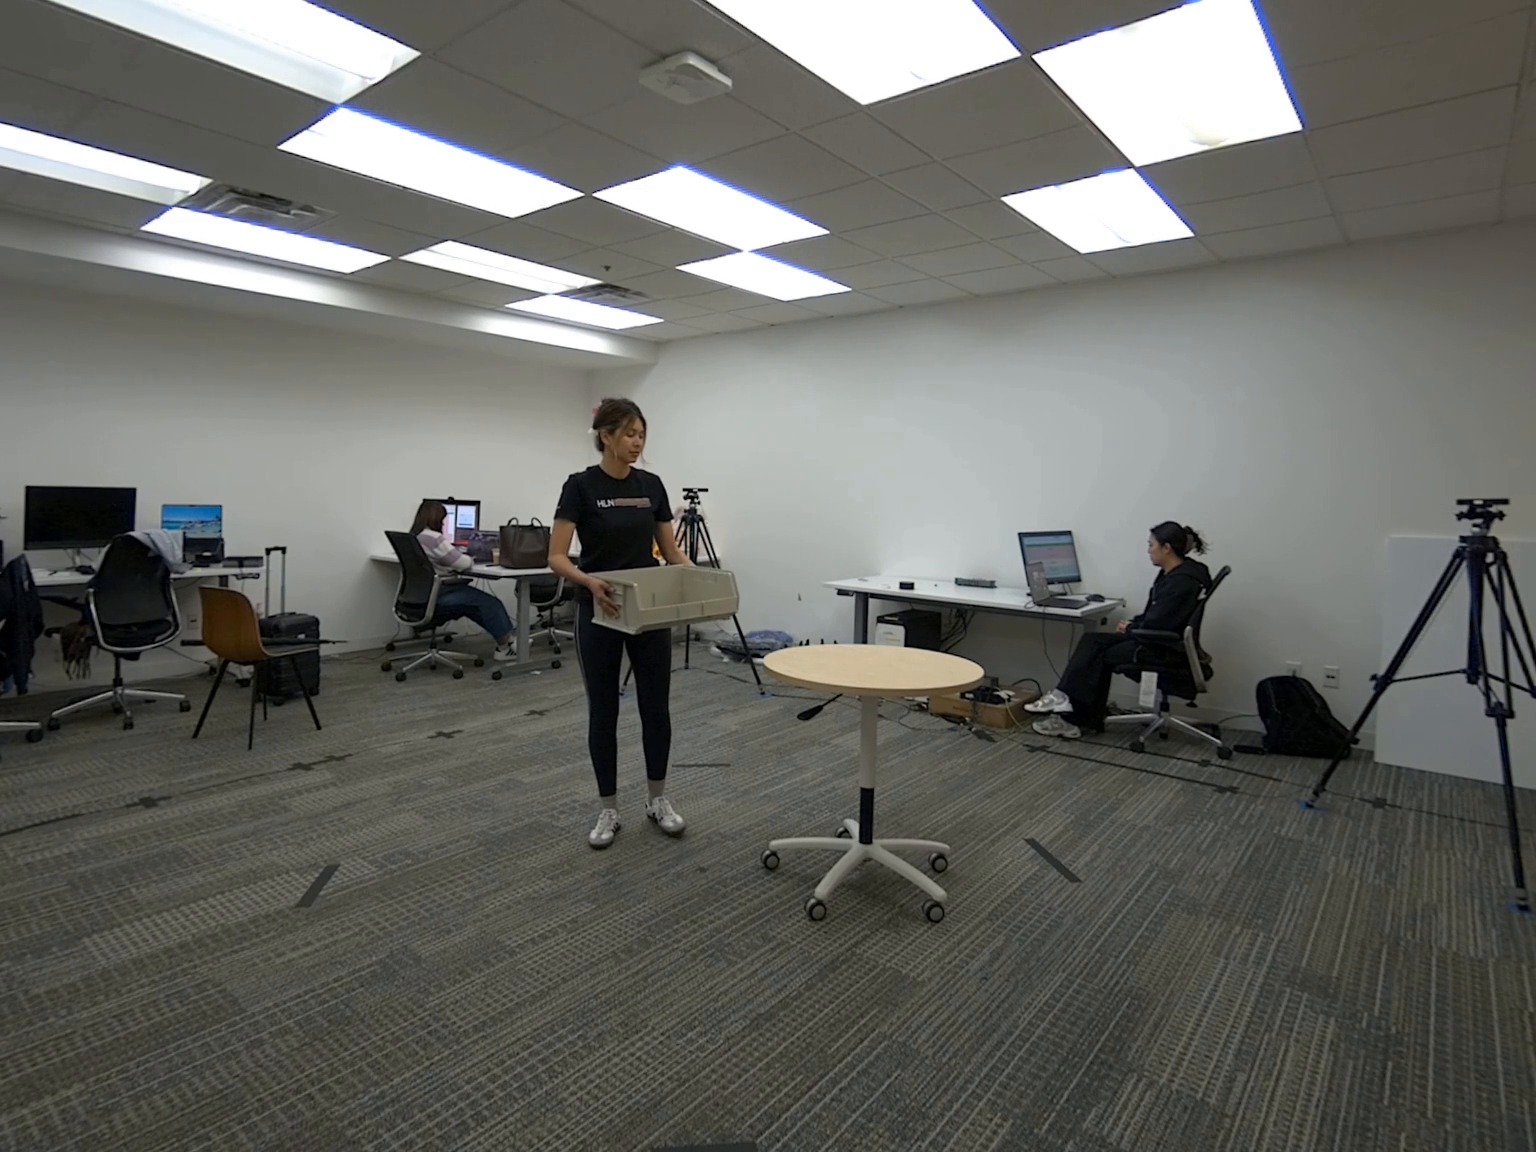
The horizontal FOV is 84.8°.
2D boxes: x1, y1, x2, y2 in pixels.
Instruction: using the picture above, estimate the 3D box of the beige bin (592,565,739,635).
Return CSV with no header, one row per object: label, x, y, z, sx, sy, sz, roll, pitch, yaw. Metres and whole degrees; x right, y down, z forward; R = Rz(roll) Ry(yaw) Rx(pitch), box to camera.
beige bin,-0.392,0.075,3.095,0.411,0.188,0.389,-7,7,-36
